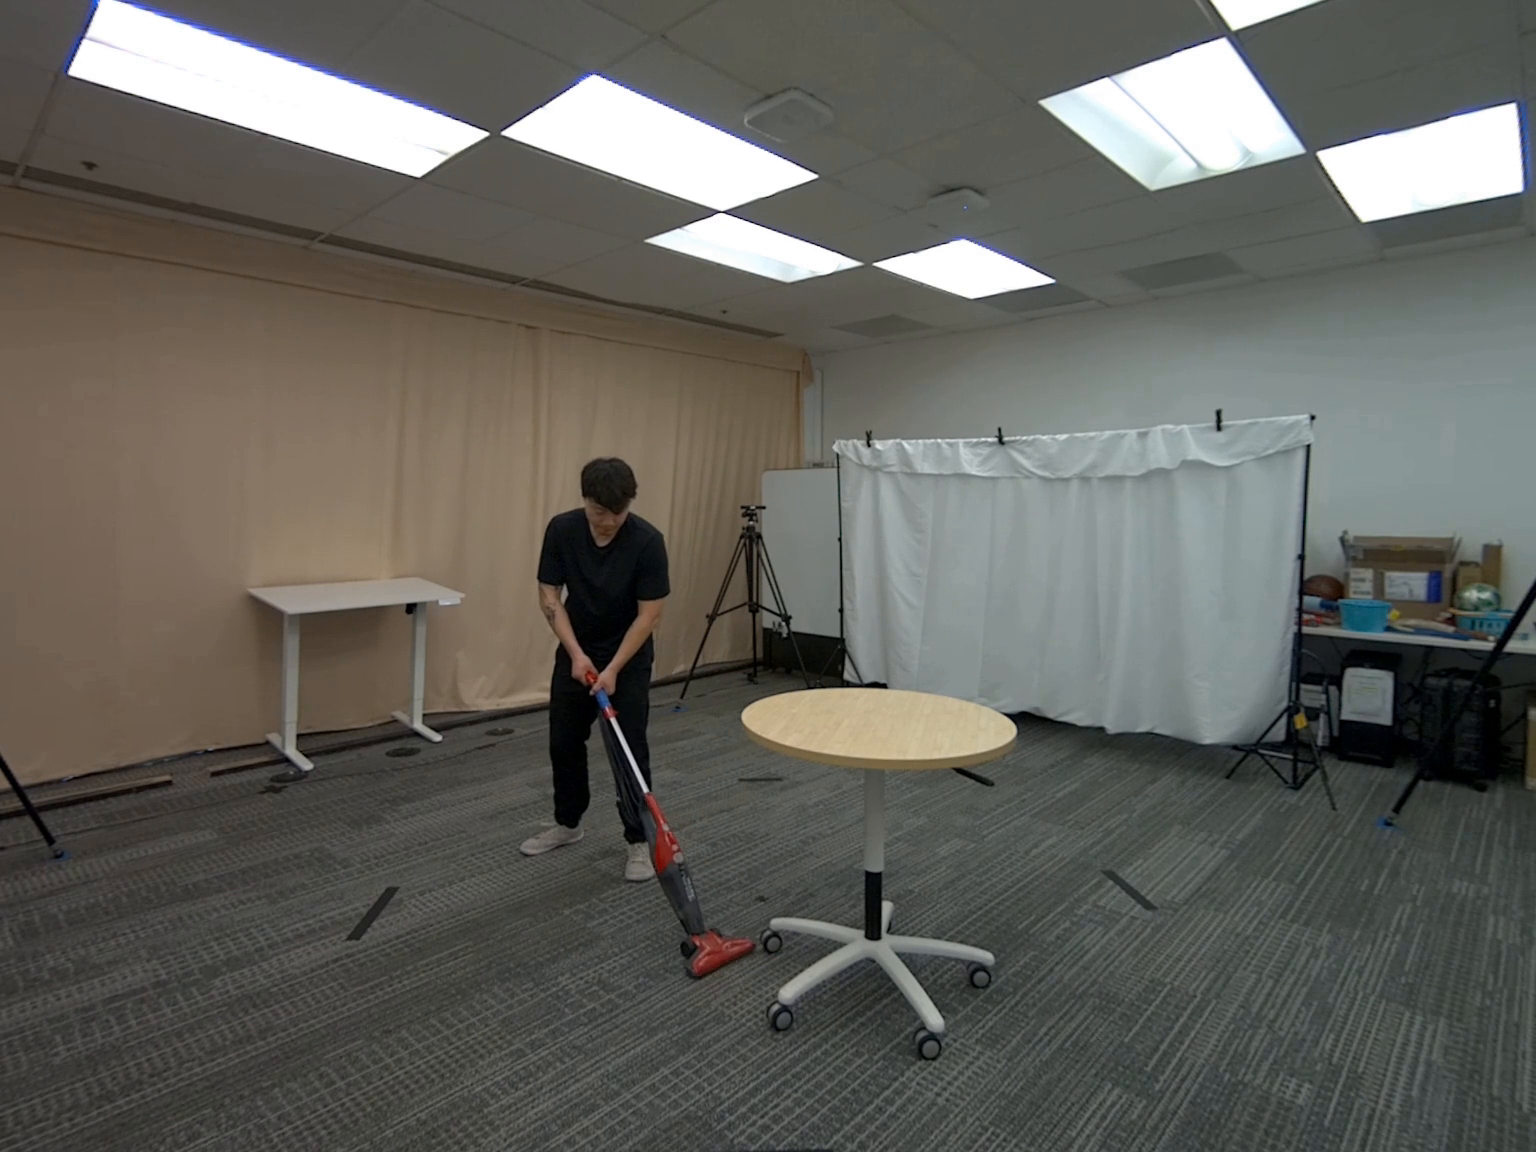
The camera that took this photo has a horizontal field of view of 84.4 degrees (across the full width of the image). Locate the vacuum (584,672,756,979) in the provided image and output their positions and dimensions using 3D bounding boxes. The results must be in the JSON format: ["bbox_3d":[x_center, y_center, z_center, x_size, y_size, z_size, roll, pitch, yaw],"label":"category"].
[{"bbox_3d":[-0.420,0.769,2.838,0.244,1.079,0.144,1,-43,-45],"label":"vacuum"}]
